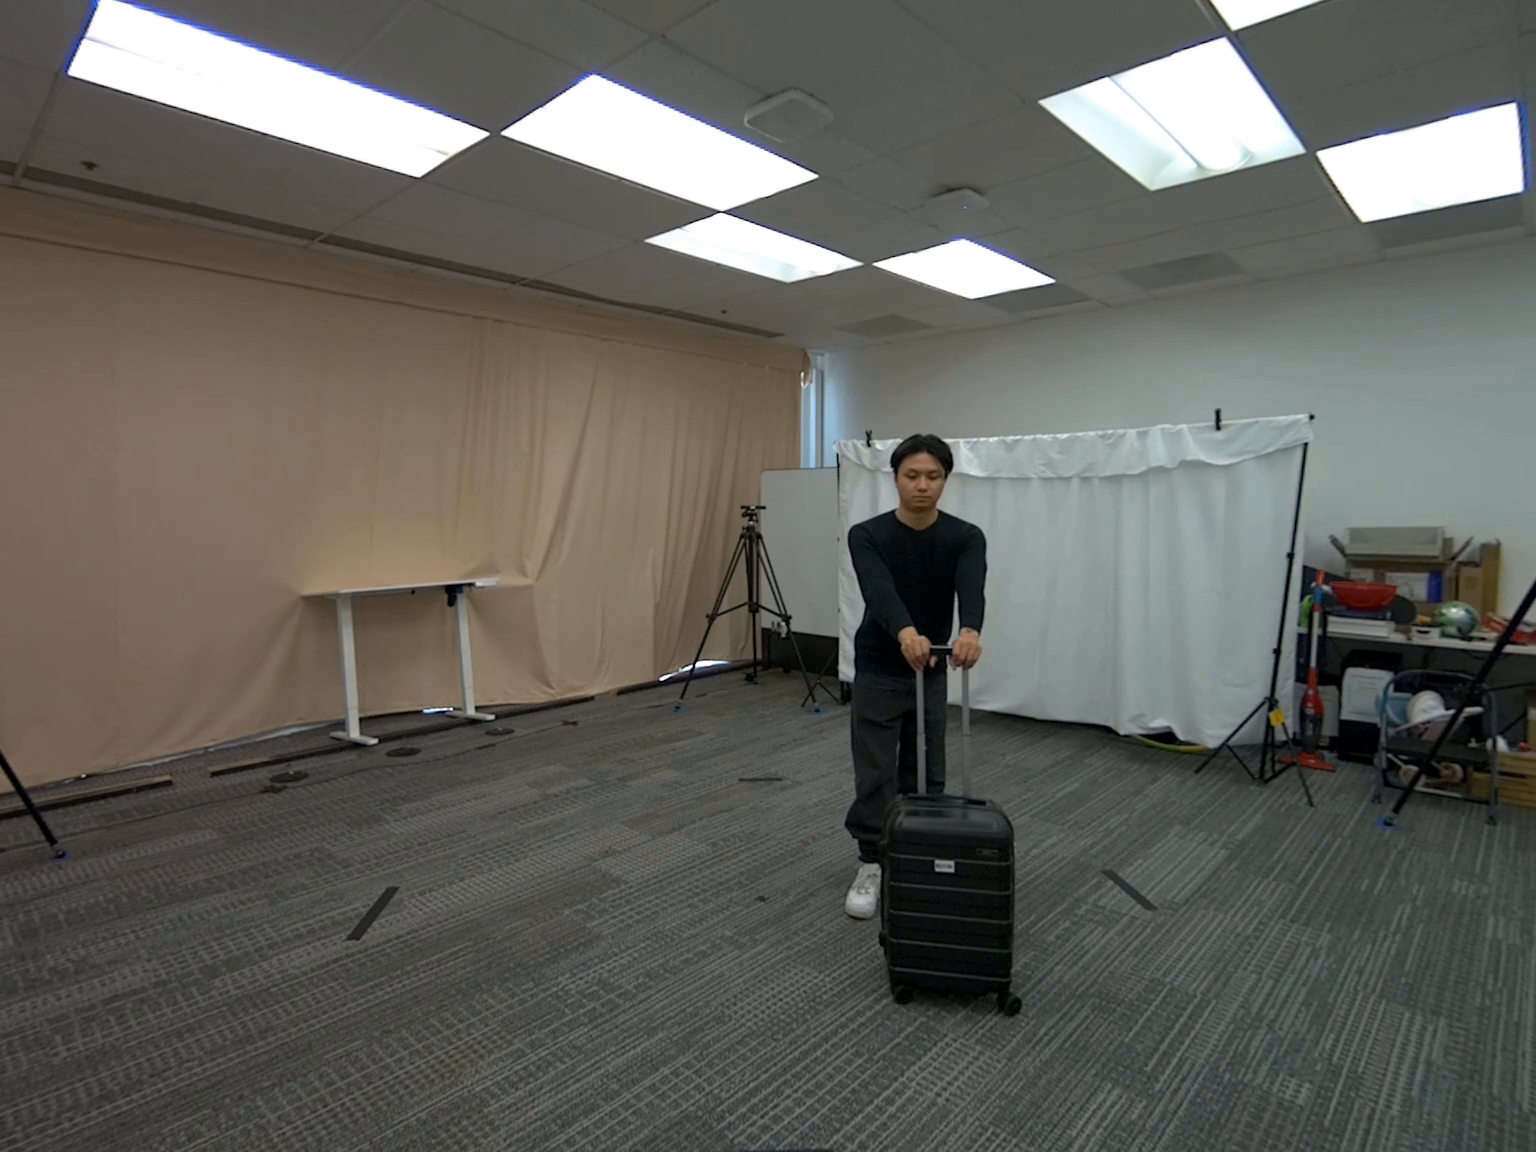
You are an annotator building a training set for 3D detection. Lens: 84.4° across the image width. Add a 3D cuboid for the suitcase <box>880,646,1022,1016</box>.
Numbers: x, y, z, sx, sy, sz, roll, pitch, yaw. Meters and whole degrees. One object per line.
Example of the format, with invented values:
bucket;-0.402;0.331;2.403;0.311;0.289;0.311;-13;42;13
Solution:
suitcase;0.514;0.714;2.405;0.389;0.975;0.255;-1;5;11
